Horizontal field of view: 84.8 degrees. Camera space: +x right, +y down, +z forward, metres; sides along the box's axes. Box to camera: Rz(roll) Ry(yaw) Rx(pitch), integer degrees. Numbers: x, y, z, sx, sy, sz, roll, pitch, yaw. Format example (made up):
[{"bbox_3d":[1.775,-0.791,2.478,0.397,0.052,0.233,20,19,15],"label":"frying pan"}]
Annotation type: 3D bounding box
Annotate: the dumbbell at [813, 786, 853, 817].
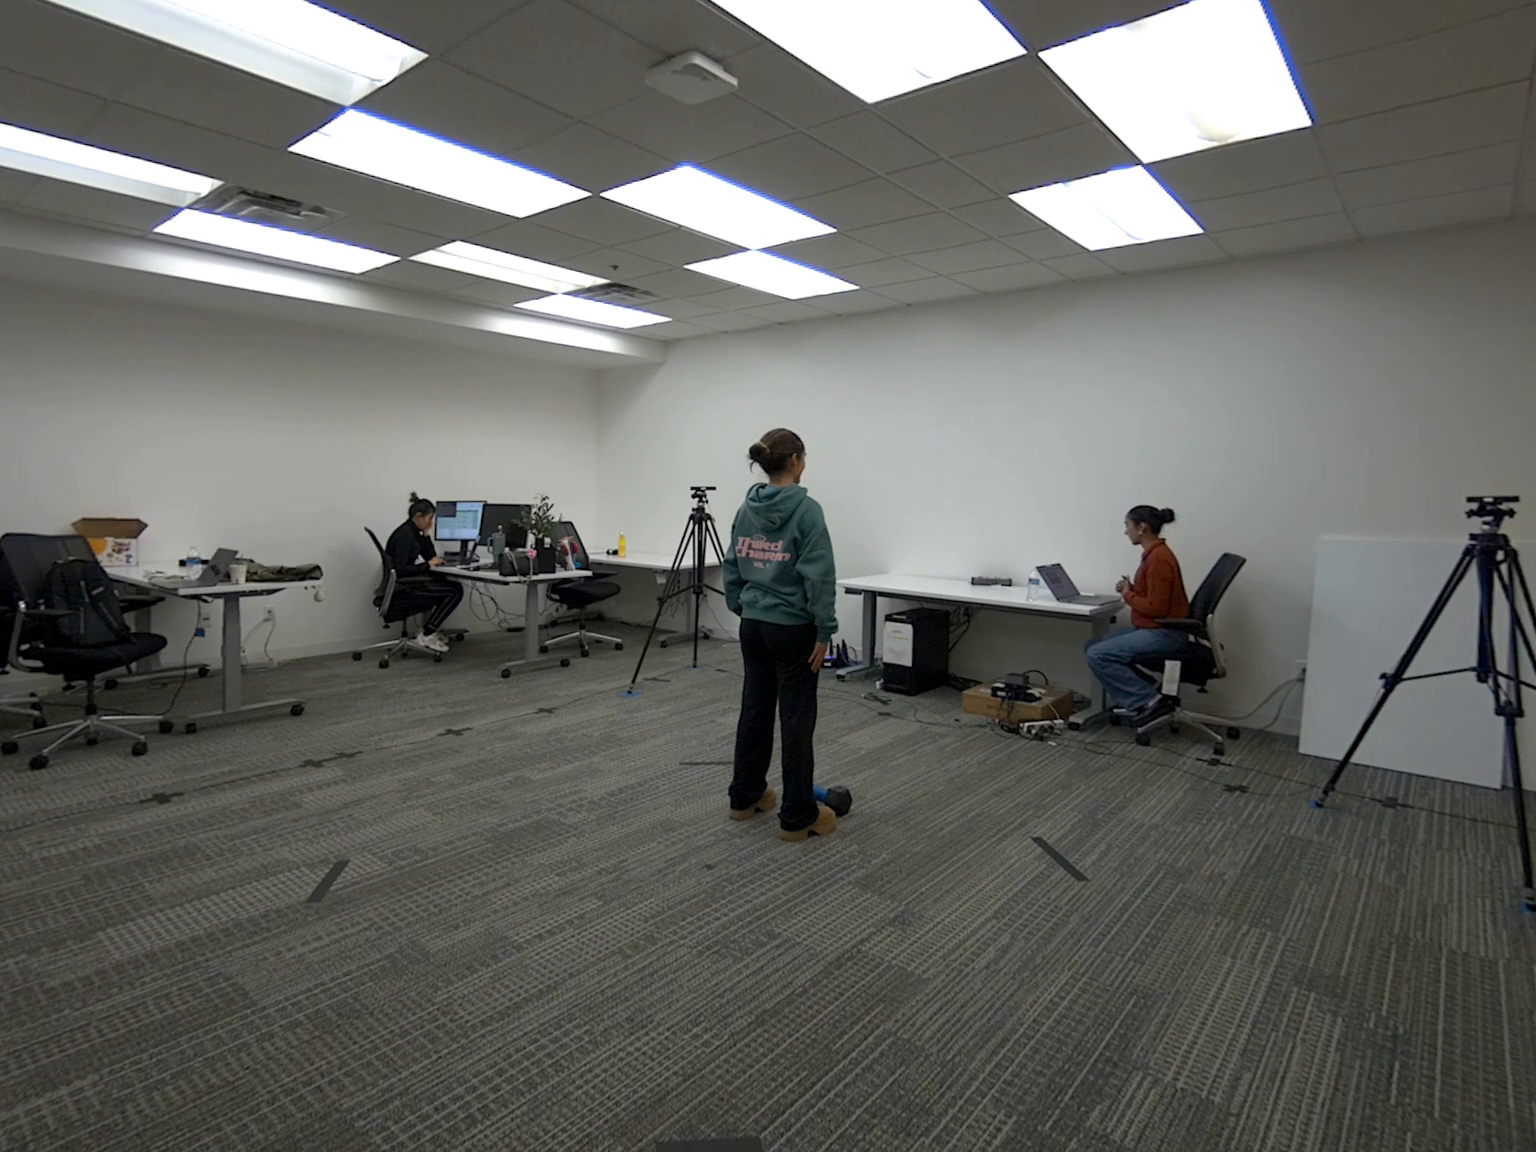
[{"bbox_3d":[0.216,0.957,3.742,0.304,0.124,0.104,5,-26,44],"label":"dumbbell"}]
